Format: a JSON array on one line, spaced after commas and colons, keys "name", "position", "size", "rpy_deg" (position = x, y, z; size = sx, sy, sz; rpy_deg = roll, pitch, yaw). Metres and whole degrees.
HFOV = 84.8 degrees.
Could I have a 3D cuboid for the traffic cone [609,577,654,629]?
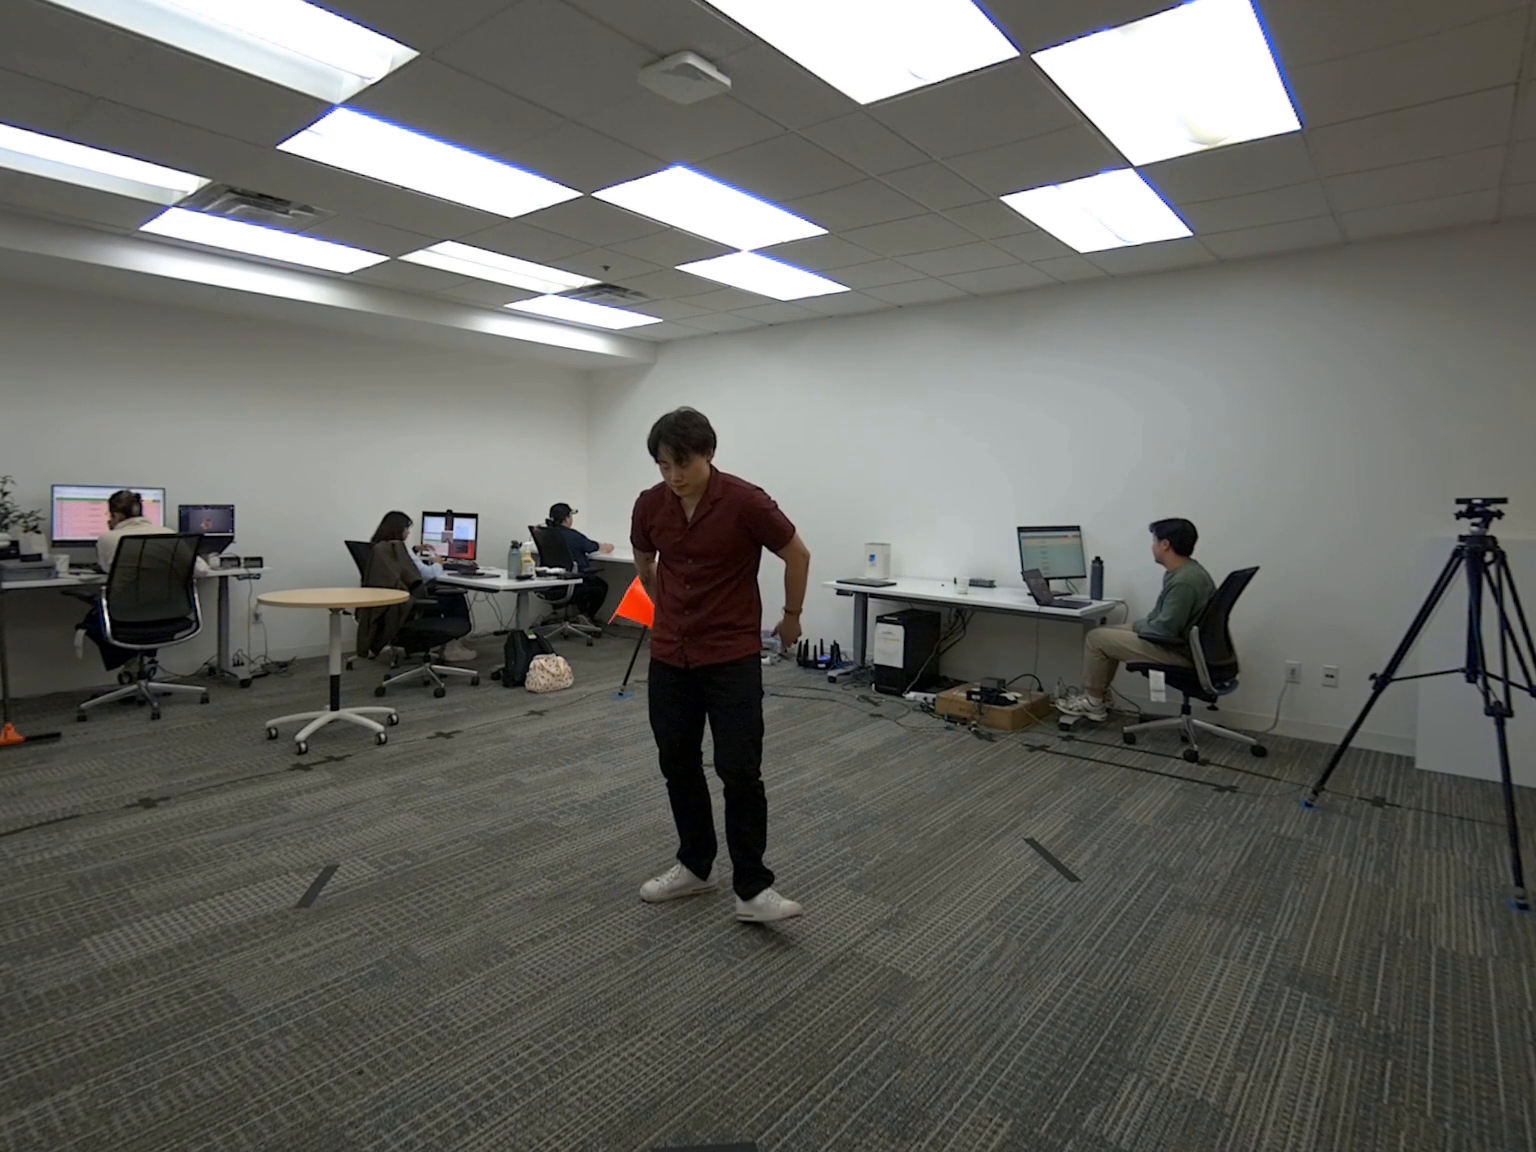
[{"name": "traffic cone", "position": [-0.393, 0.172, 3.275], "size": [0.382, 0.205, 0.204], "rpy_deg": [31, -31, -3]}]
